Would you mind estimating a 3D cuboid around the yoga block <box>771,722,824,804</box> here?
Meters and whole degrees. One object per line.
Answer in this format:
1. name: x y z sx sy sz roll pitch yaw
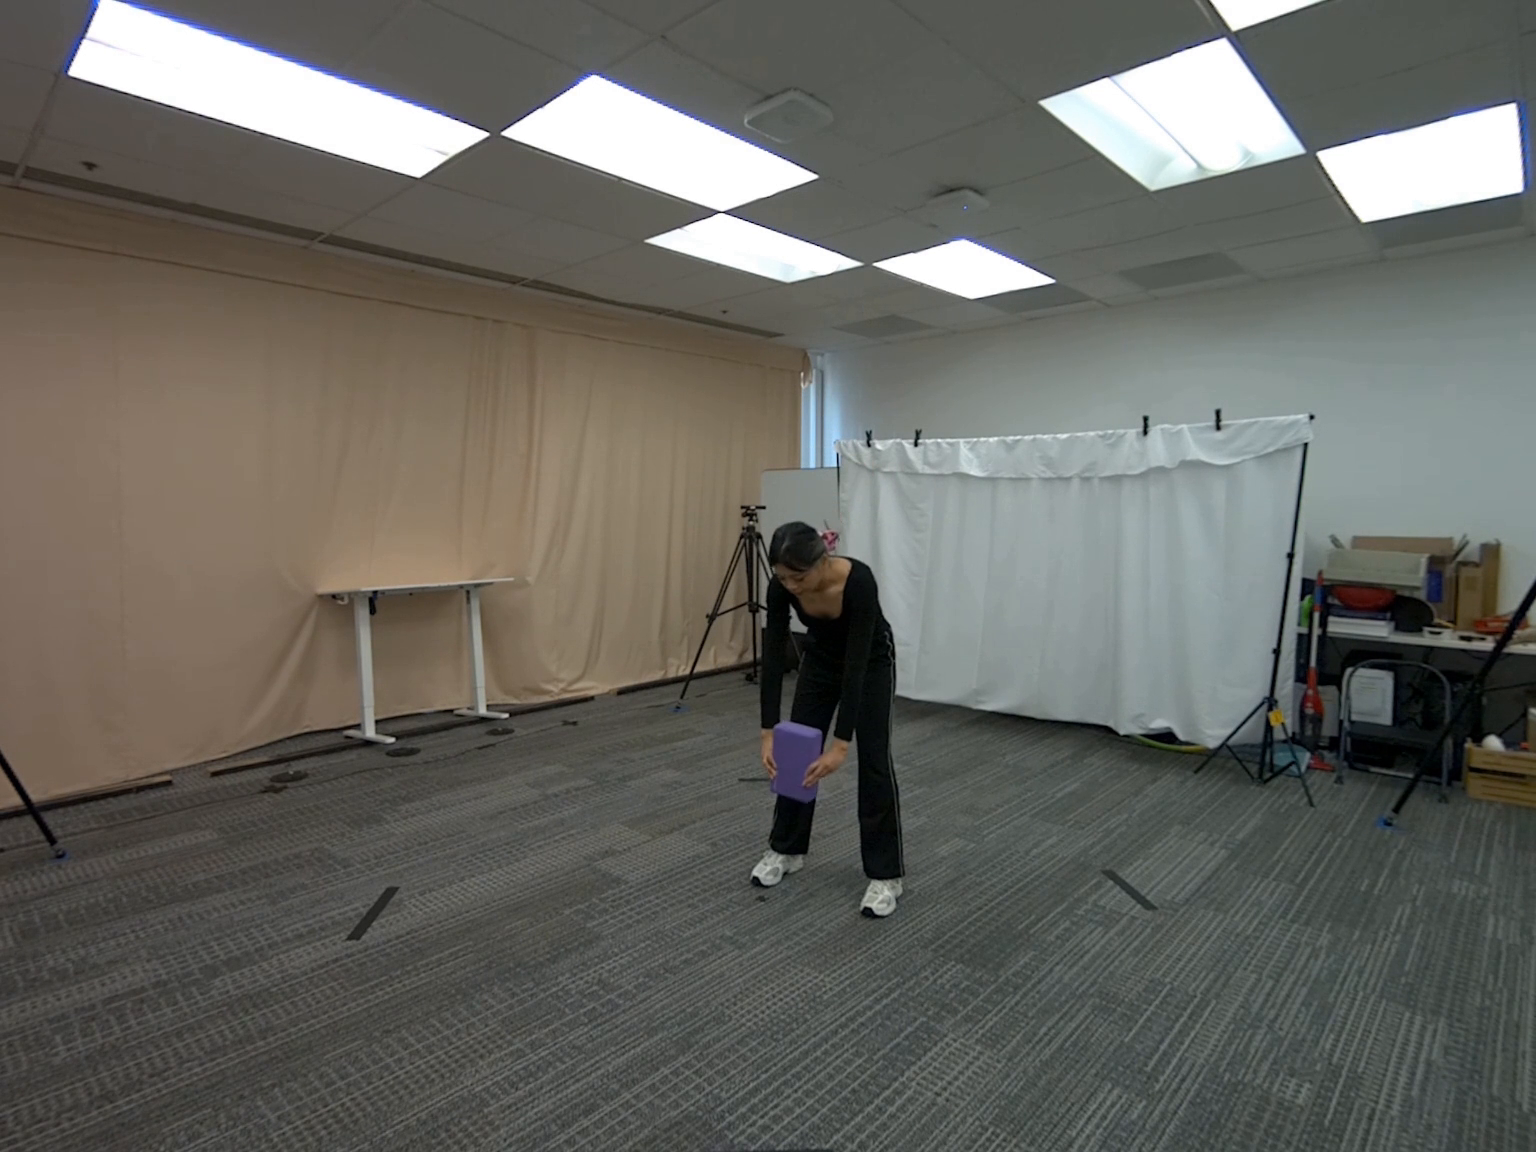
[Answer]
1. yoga block: 0.092 0.604 2.752 0.153 0.228 0.075 7 7 26
